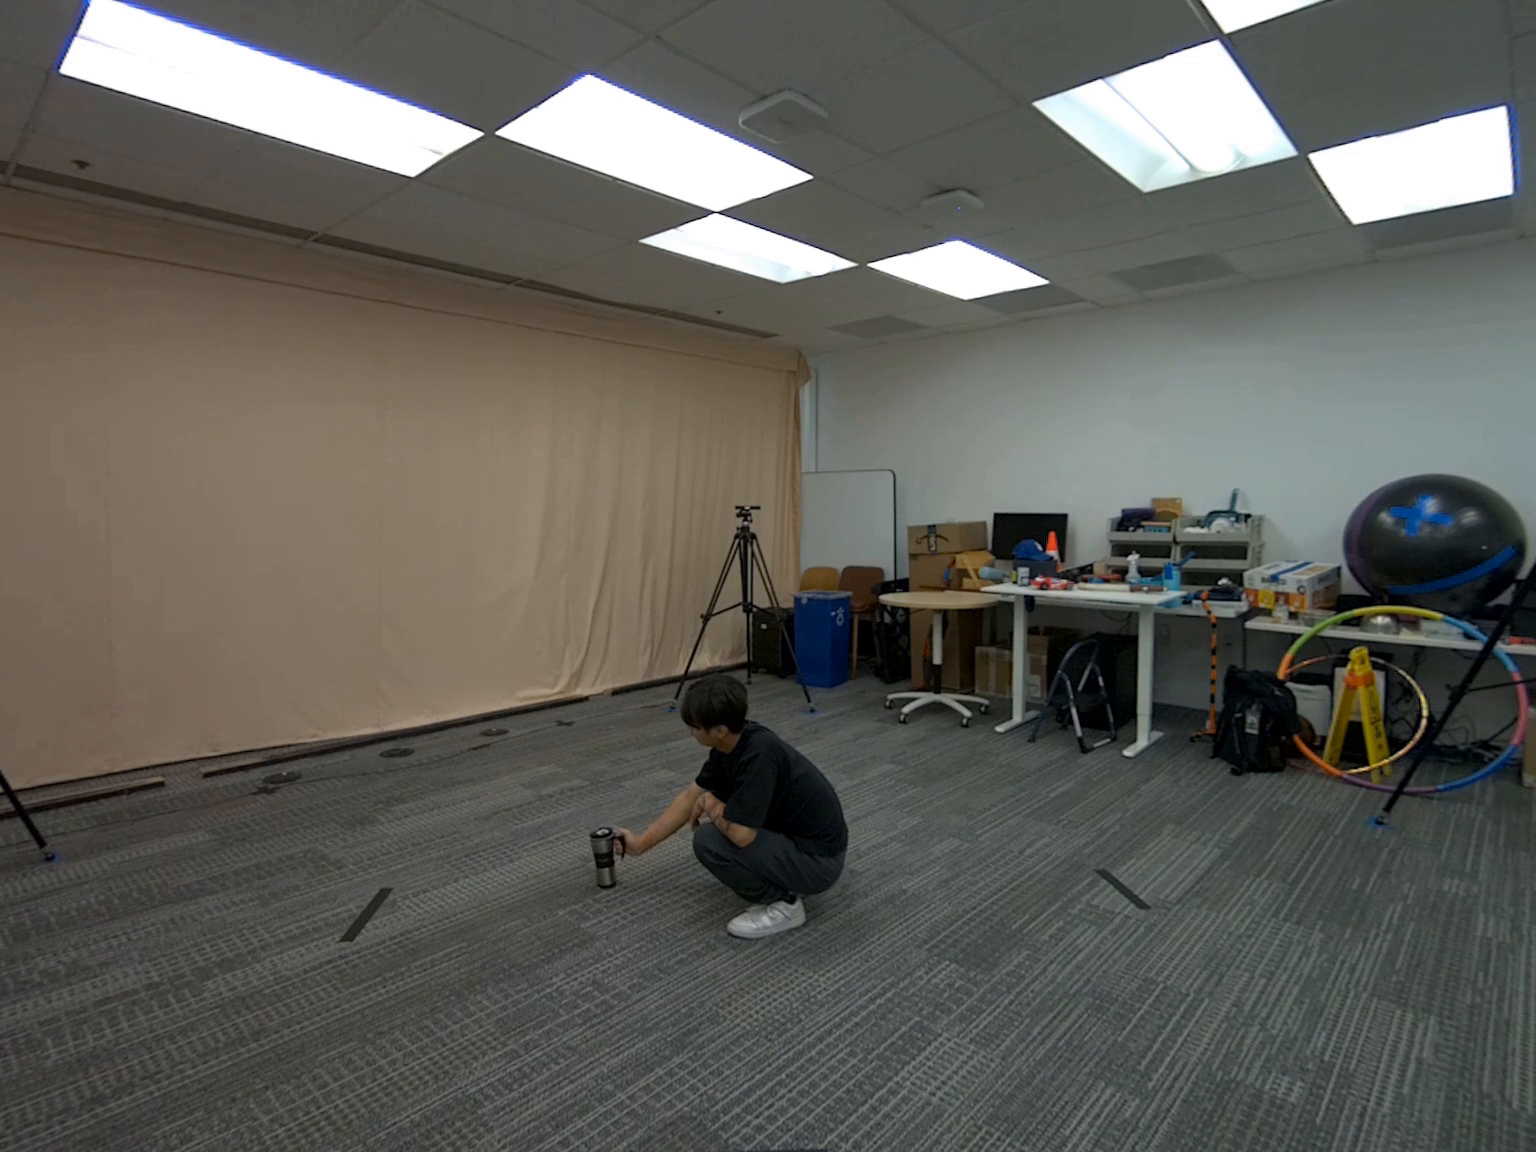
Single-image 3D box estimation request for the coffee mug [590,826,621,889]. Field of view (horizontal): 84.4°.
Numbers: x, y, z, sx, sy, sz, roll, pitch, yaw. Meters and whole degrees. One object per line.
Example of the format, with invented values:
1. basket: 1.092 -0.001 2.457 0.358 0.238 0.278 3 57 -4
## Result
1. coffee mug: -0.589 1.045 3.088 0.125 0.203 0.085 -7 -4 43
